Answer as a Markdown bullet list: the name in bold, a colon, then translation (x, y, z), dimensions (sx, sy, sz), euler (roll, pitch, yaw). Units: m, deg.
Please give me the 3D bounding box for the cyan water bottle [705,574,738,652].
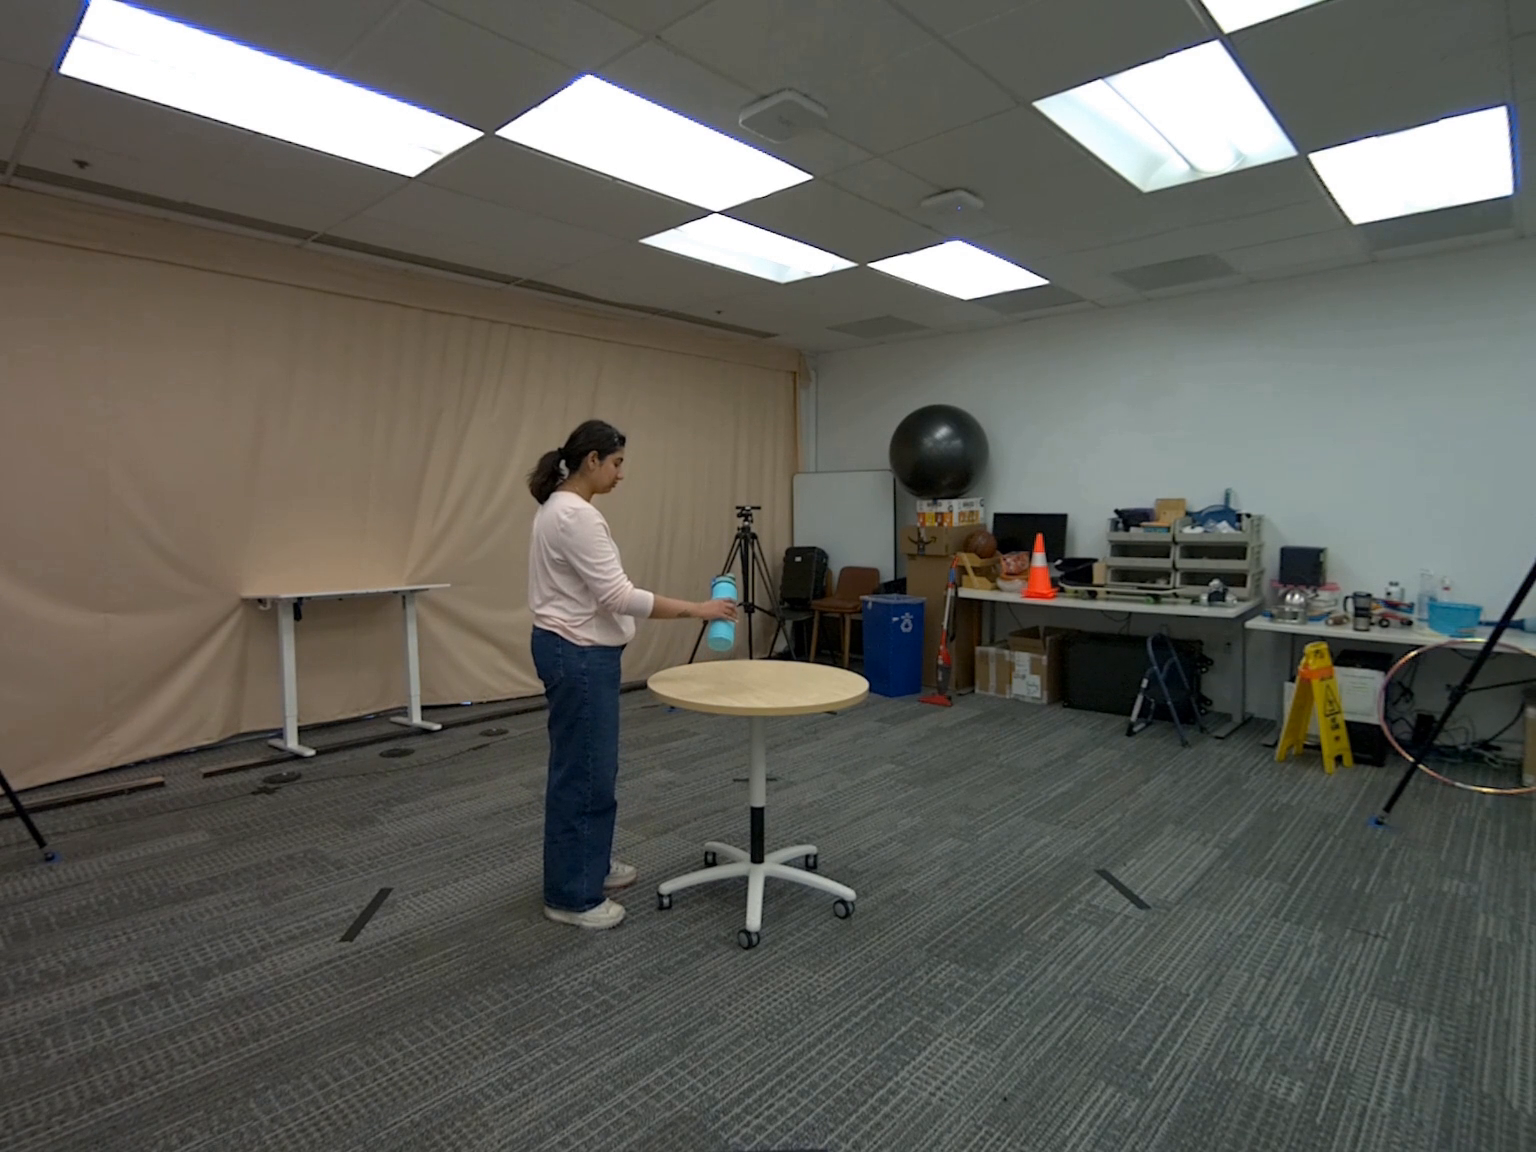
- **cyan water bottle**: translation (-0.153, 0.123, 2.876), dimensions (0.092, 0.288, 0.091), euler (2, -37, 0)
